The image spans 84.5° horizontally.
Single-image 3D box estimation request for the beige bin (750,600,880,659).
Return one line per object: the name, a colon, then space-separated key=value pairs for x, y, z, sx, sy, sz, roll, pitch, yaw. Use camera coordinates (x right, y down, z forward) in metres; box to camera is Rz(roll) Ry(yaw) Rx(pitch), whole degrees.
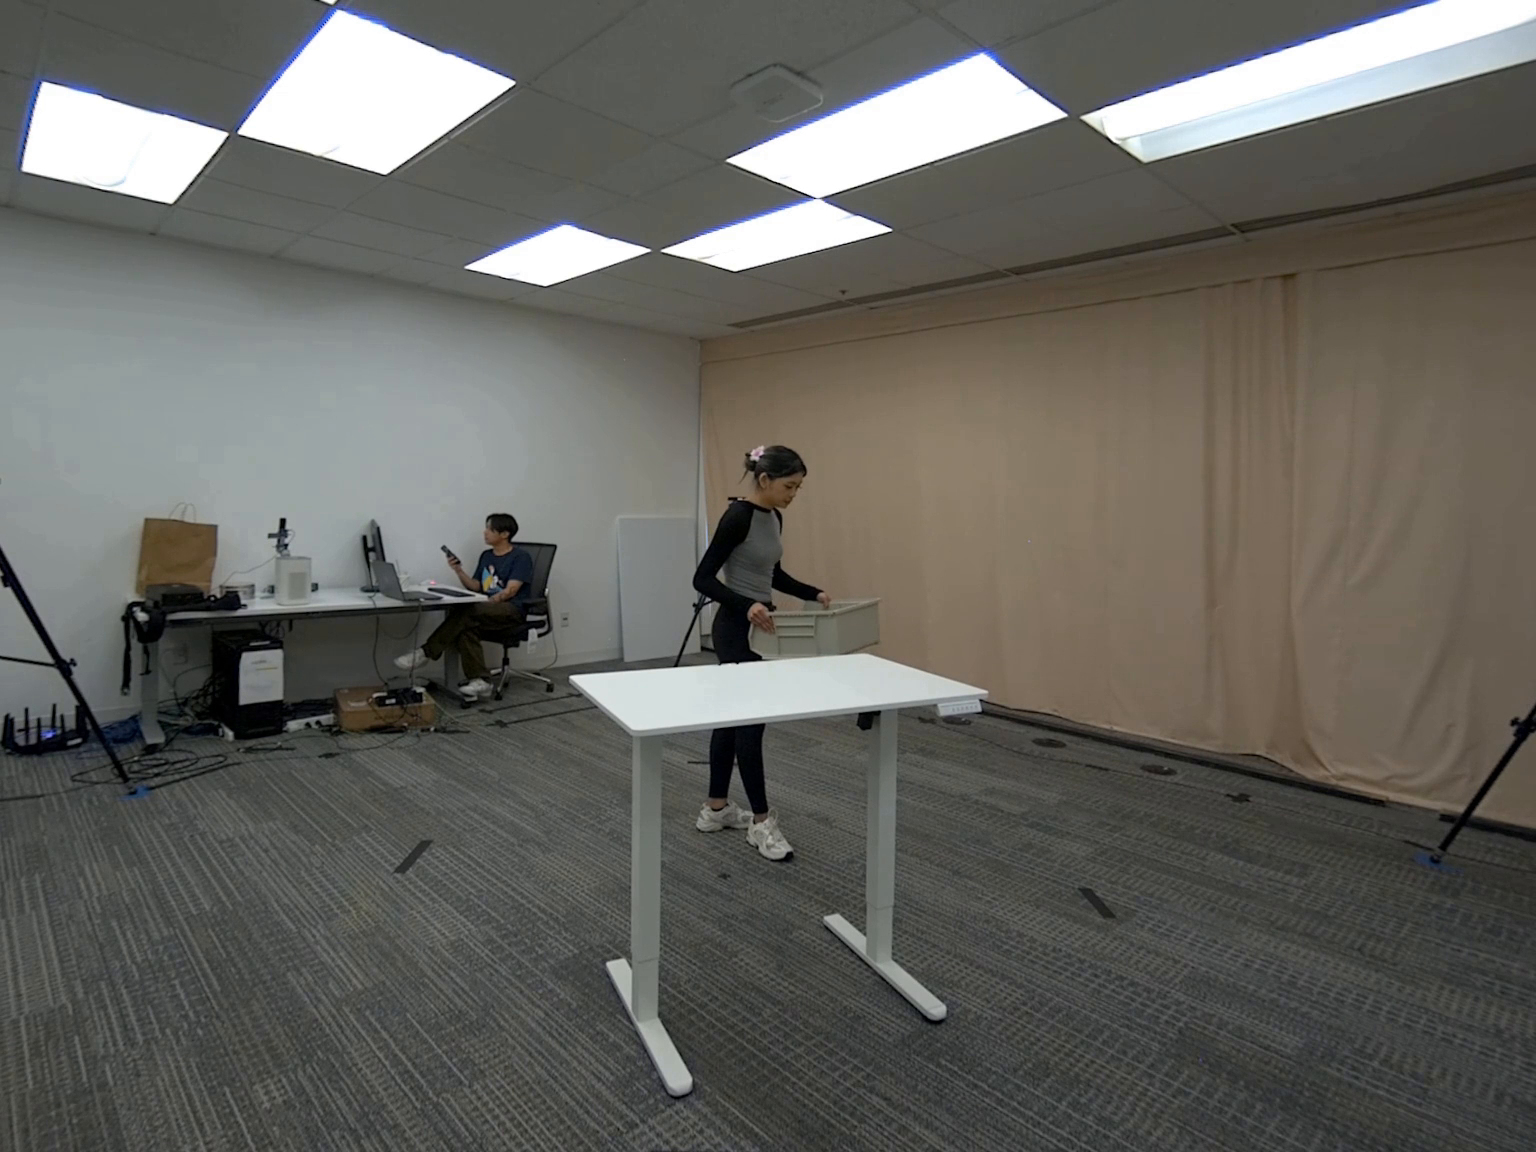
beige bin: x=0.187 y=0.202 z=3.271 sx=0.385 sy=0.189 sz=0.414 roll=-2 pitch=3 yaw=33
